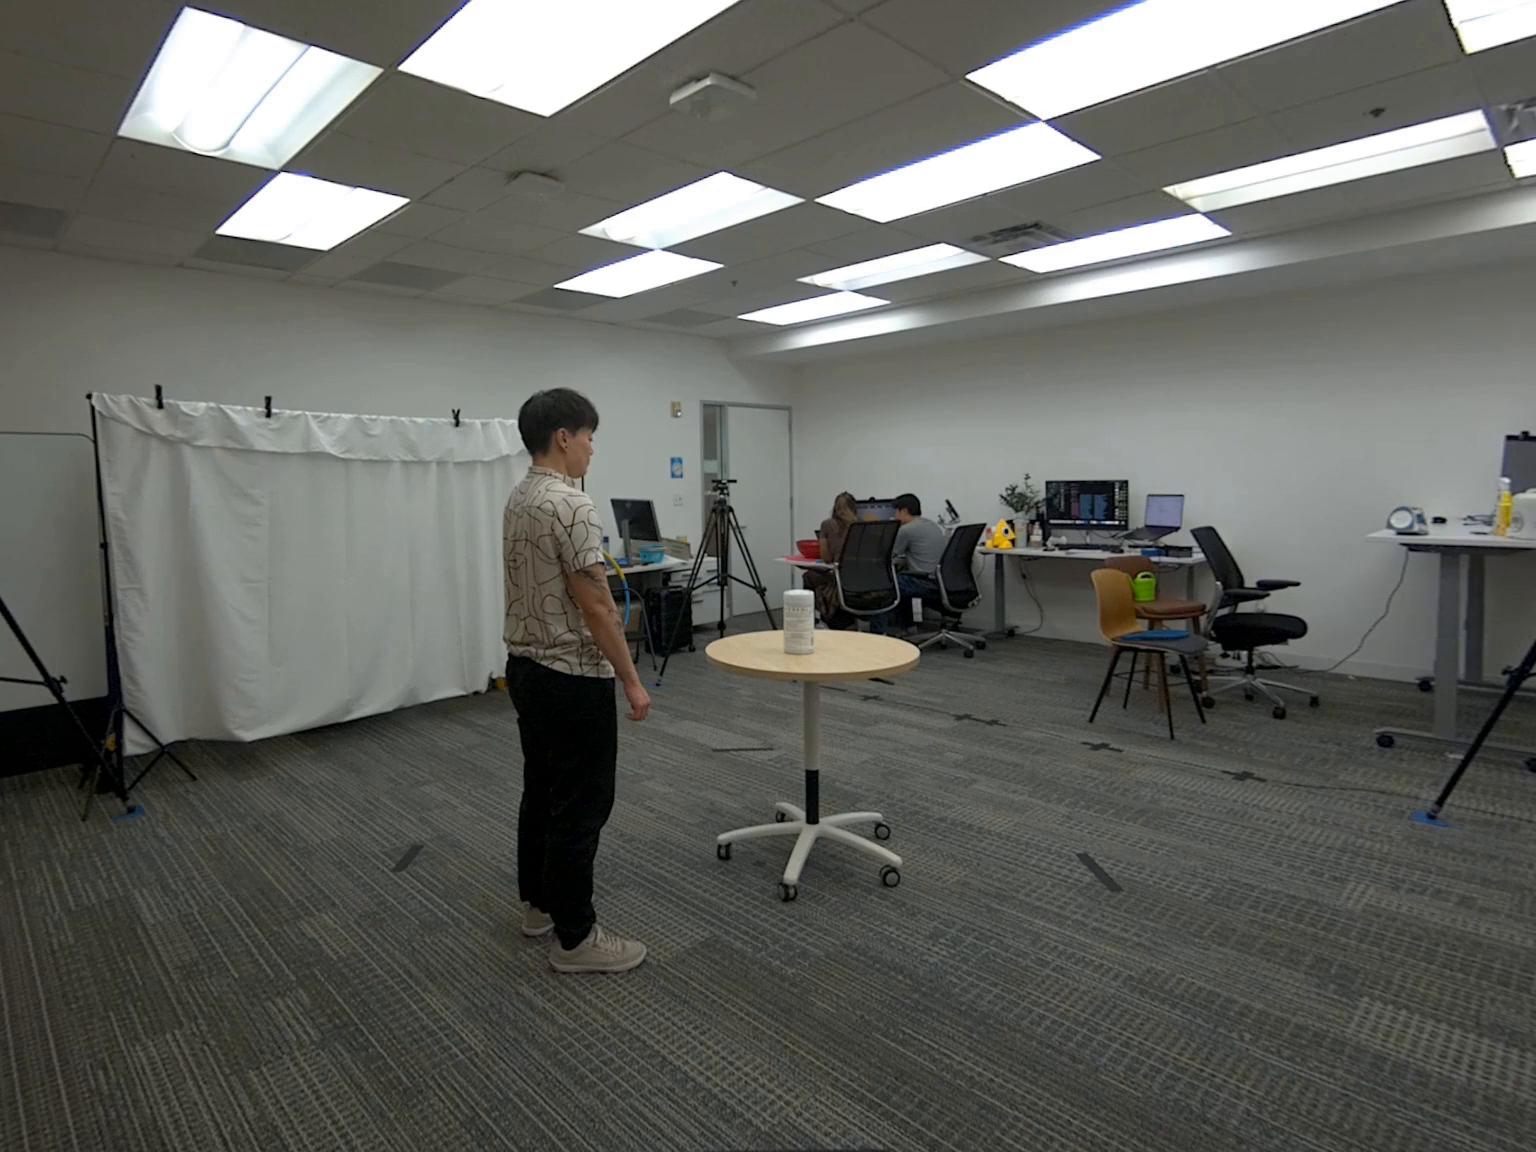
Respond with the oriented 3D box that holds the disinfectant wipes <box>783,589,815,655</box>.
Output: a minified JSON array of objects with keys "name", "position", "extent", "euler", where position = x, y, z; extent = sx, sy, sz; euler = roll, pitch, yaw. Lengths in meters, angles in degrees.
[{"name":"disinfectant wipes","position":[0.116,0.166,3.031],"extent":[0.118,0.217,0.118],"euler":[-1,3,-2]}]
